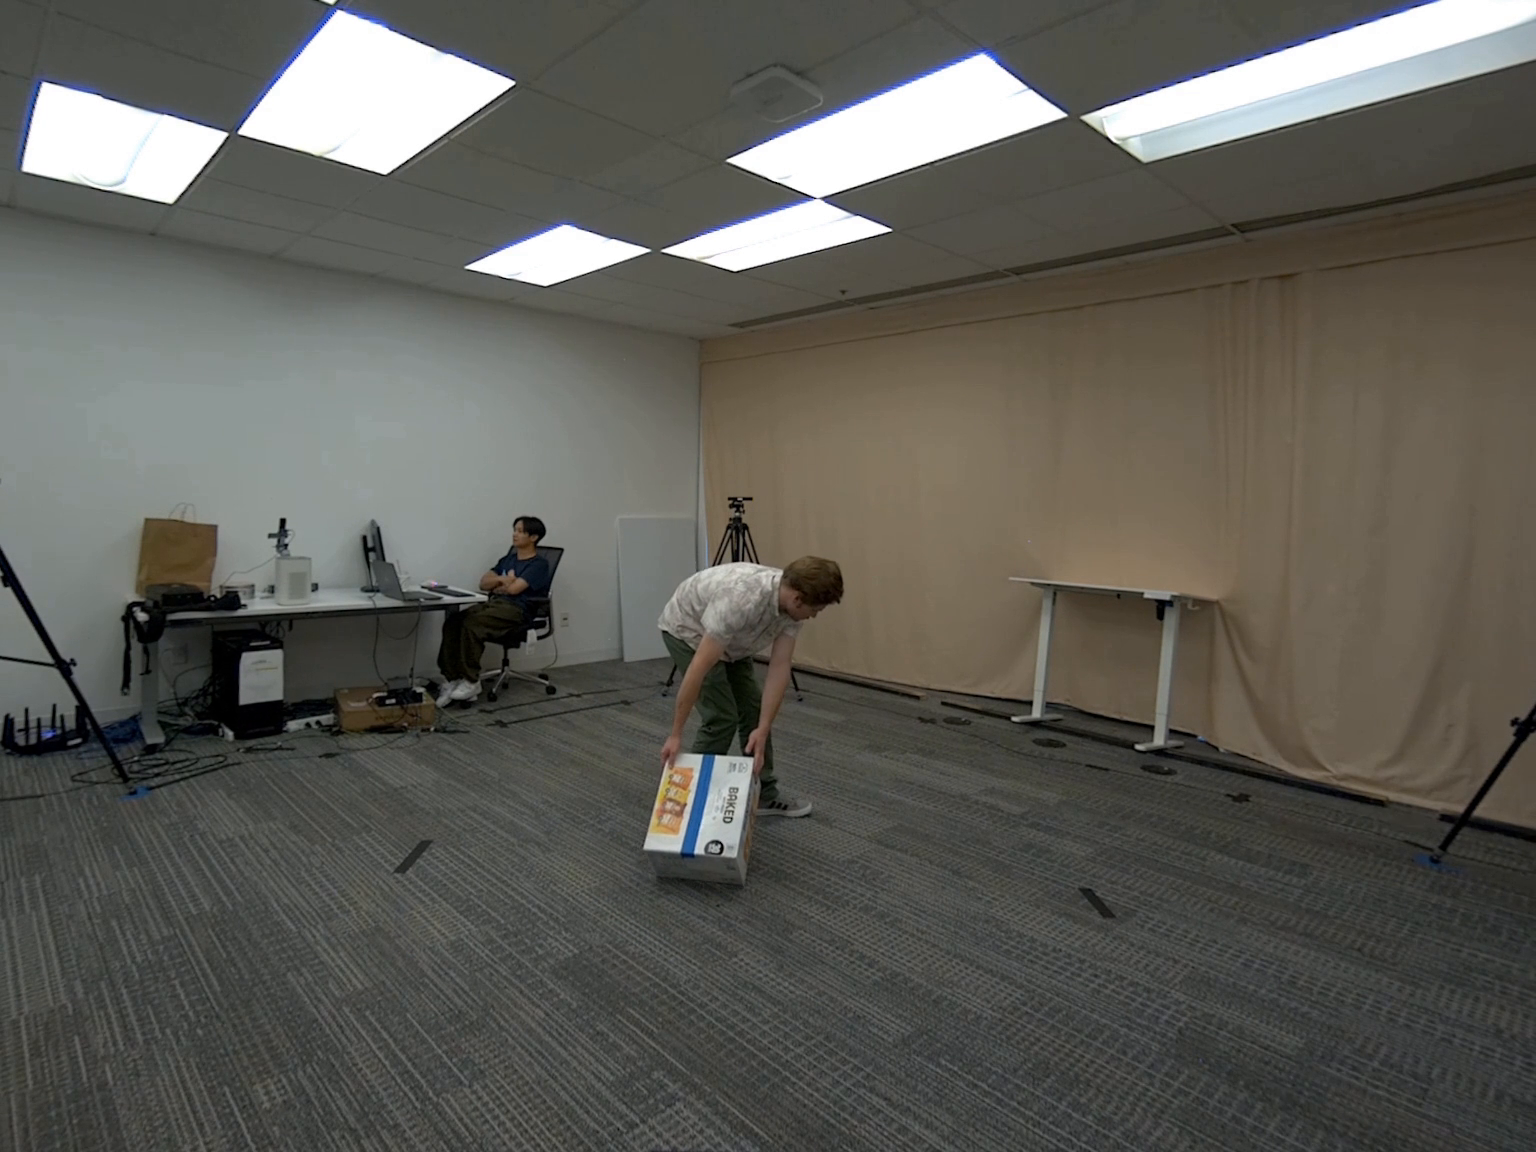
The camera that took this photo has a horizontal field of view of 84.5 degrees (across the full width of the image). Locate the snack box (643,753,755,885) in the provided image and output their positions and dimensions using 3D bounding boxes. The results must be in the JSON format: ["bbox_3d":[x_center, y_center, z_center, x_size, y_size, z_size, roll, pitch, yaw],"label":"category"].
[{"bbox_3d":[-0.241,0.897,3.128,0.344,0.200,0.411,0,44,13],"label":"snack box"}]
